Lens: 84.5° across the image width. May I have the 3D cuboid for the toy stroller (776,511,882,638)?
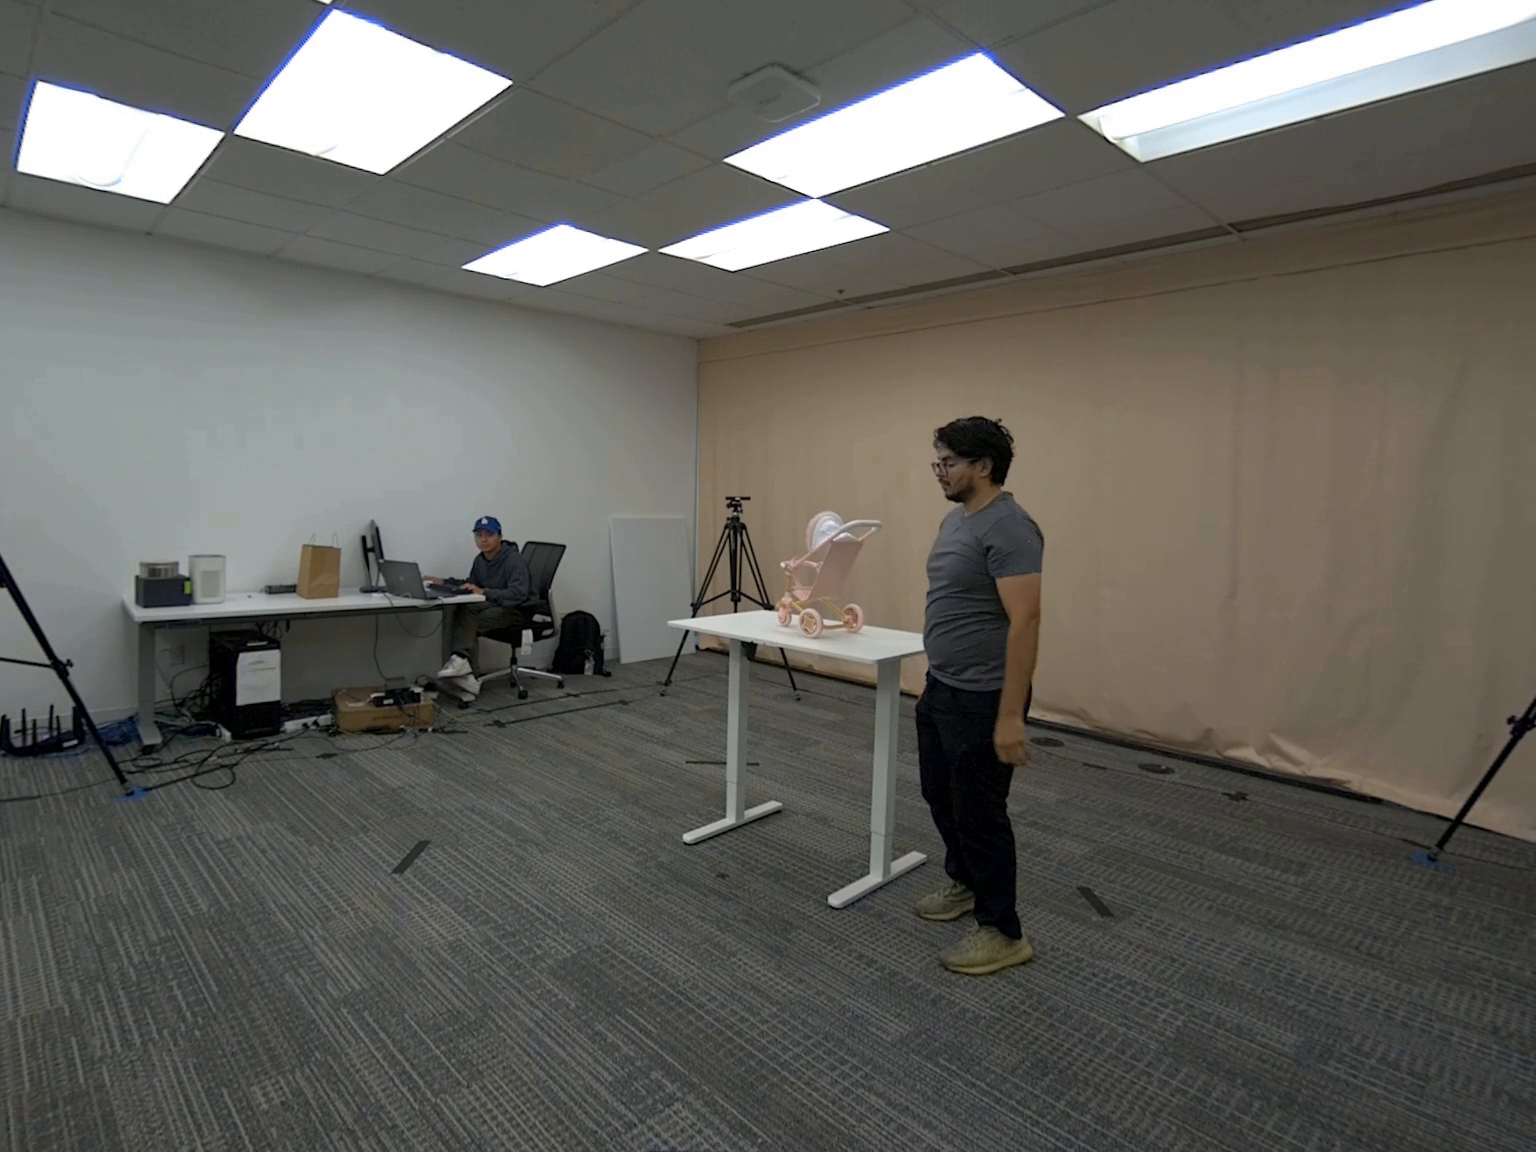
[{"bbox_3d":[0.201,-0.006,3.235,0.275,0.531,0.352,-1,19,-40],"label":"toy stroller"}]
